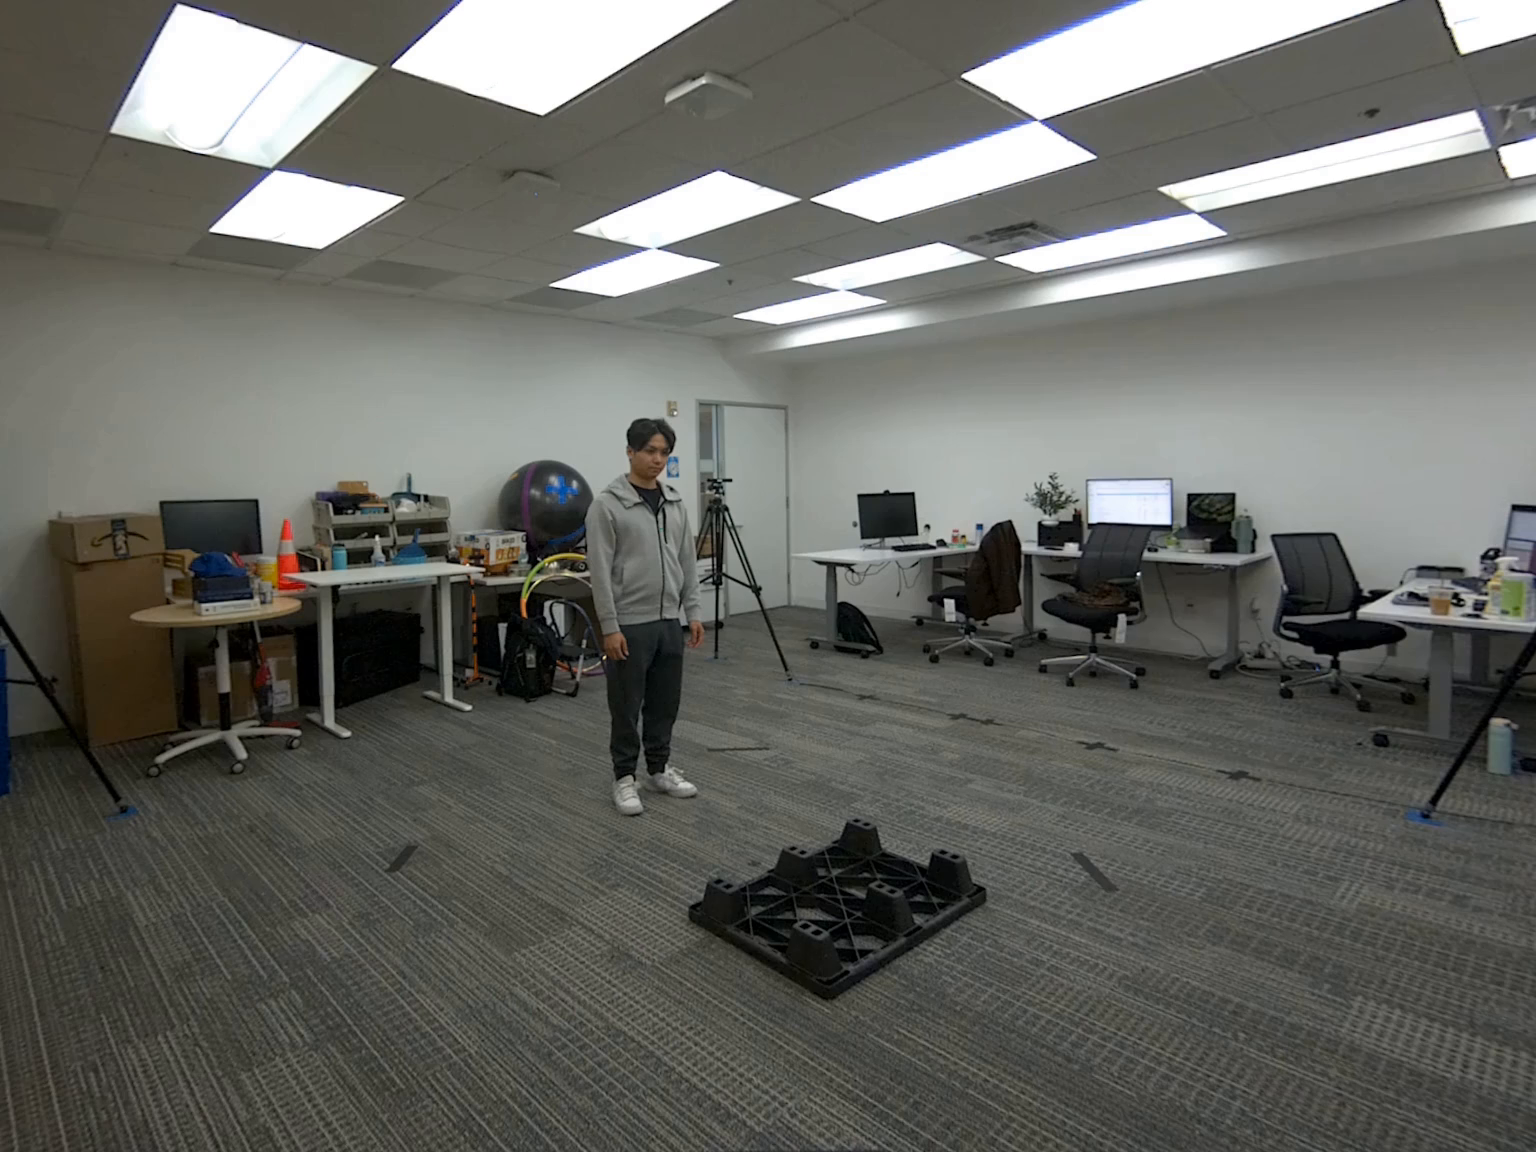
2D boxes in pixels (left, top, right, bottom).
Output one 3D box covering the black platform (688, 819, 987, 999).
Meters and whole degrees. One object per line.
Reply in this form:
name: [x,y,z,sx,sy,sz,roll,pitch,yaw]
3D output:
black platform: [0.243,1.013,2.762,0.784,0.142,0.624,-7,9,-43]
